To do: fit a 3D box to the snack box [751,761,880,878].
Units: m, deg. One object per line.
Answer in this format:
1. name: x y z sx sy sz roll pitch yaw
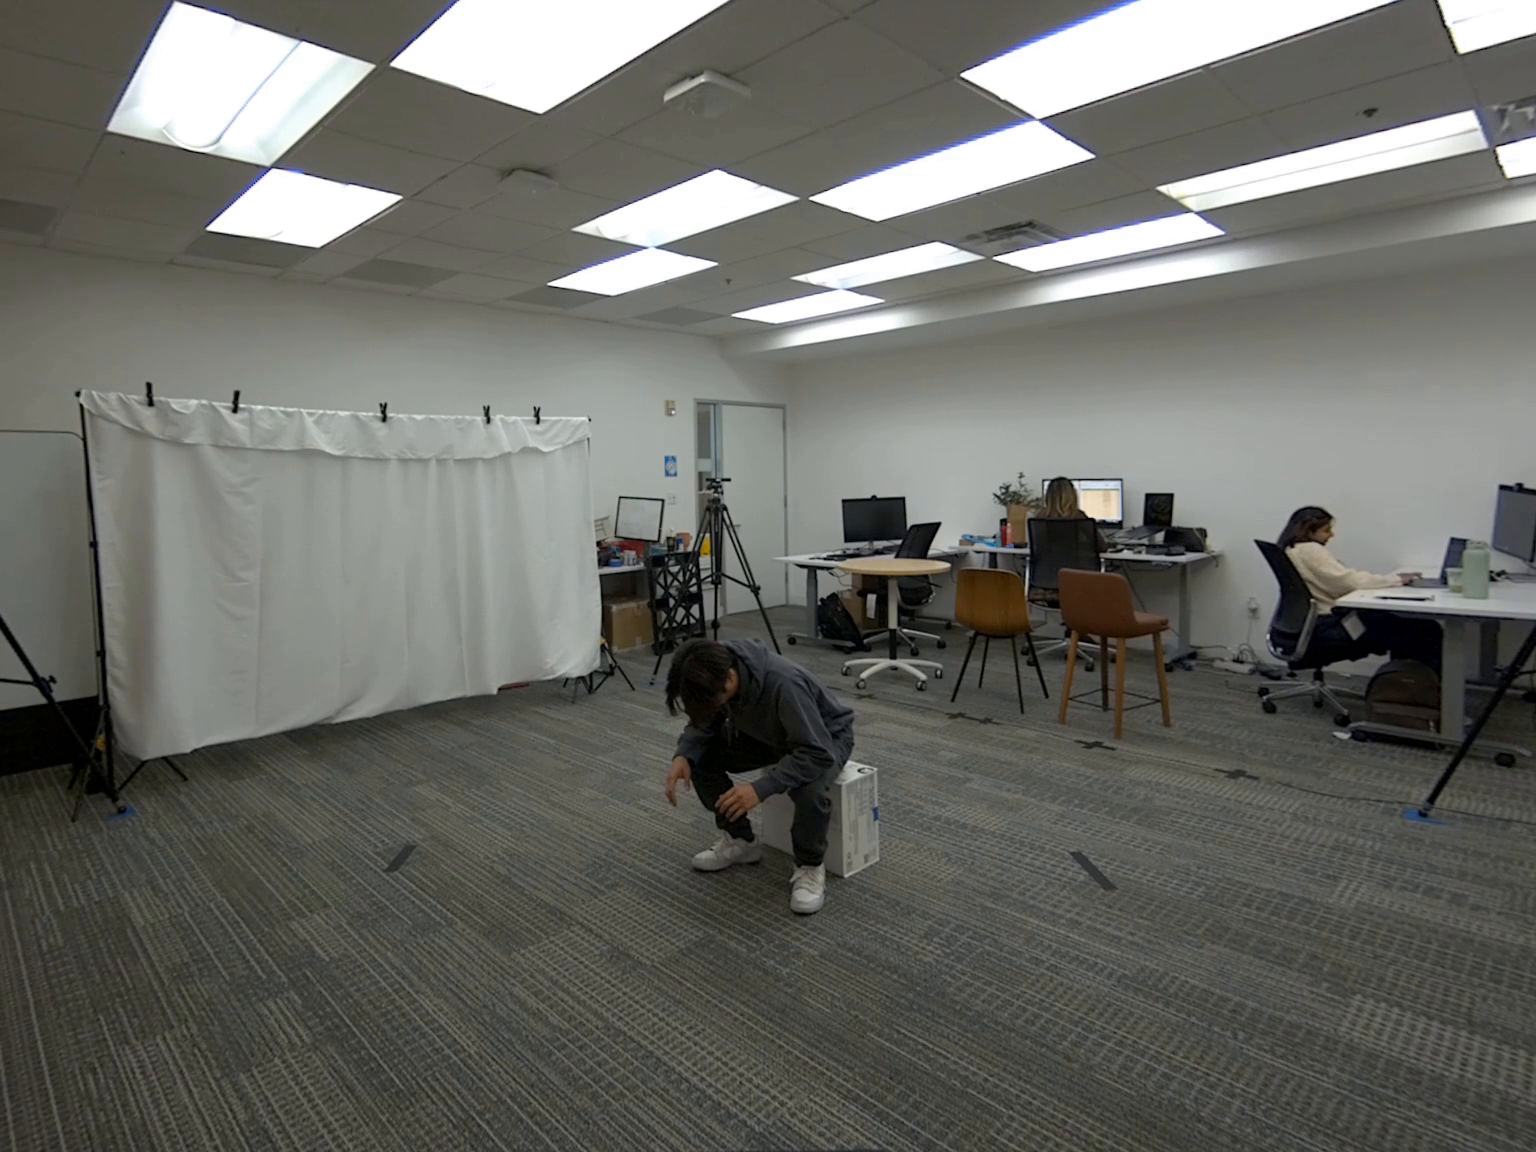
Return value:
1. snack box: 0.190 0.859 3.178 0.200 0.339 0.418 -7 8 -43
